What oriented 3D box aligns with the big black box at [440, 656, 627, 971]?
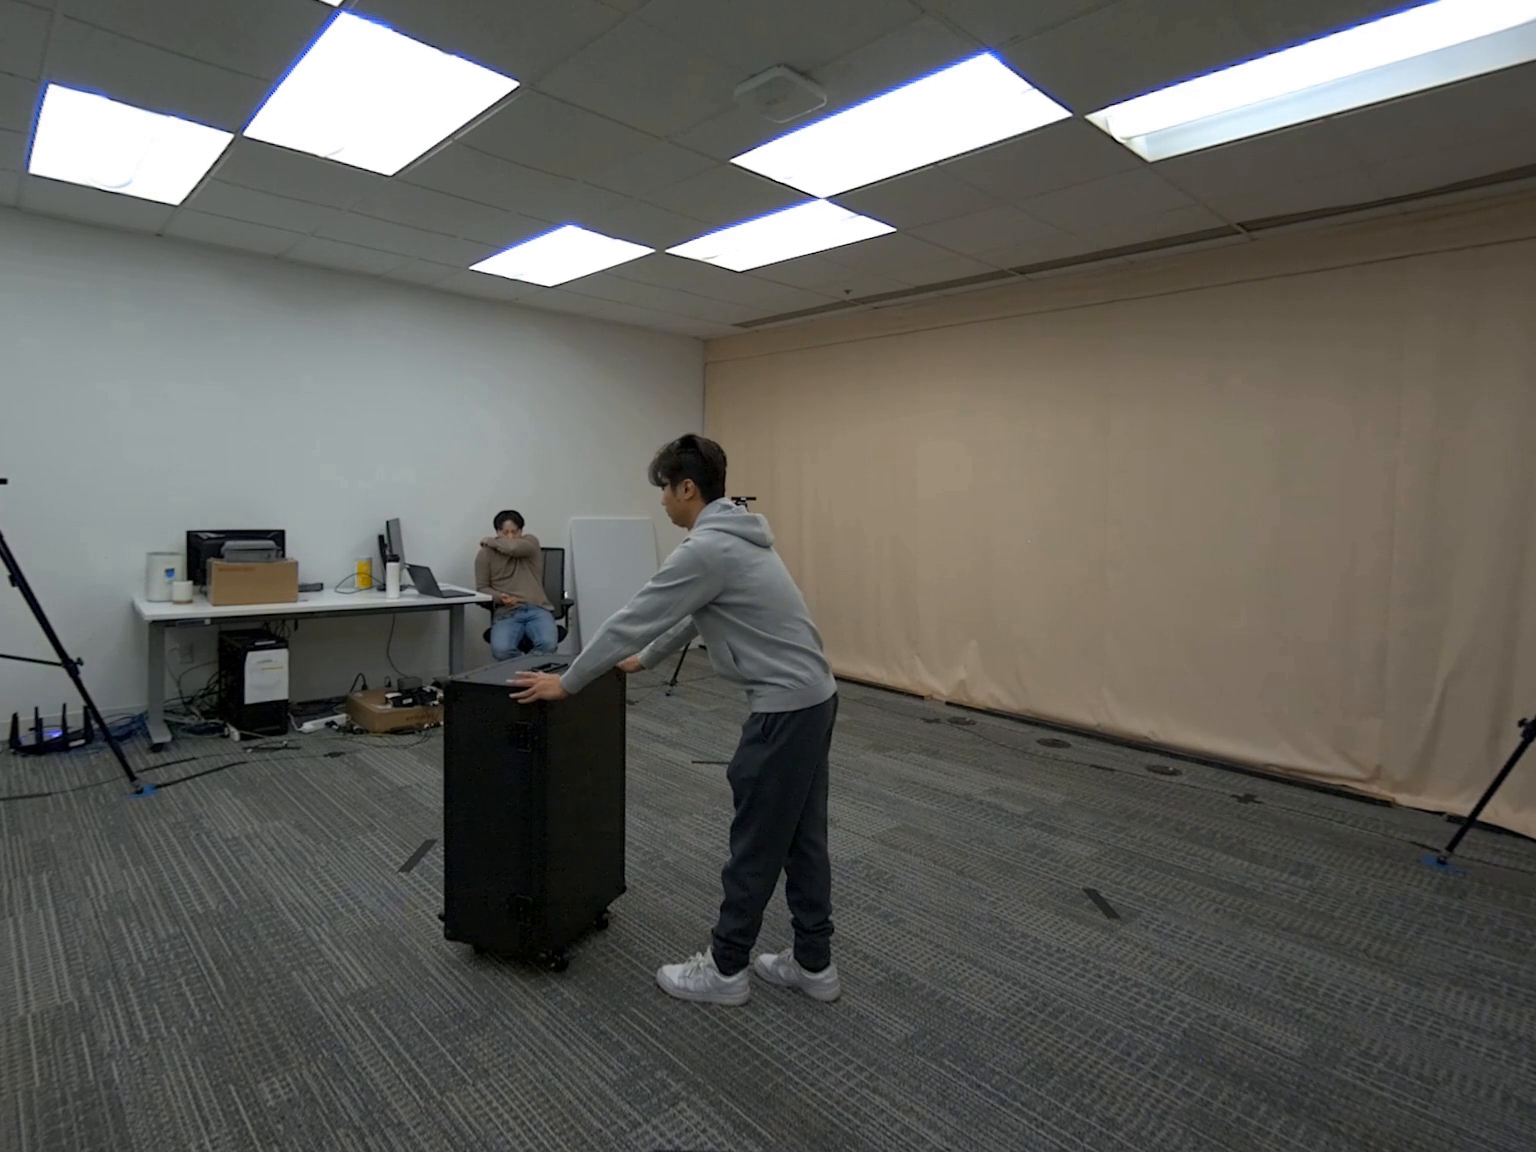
[{"bbox_3d":[-0.729,0.714,2.631,0.403,0.860,0.514,2,3,20],"label":"big black box"}]
